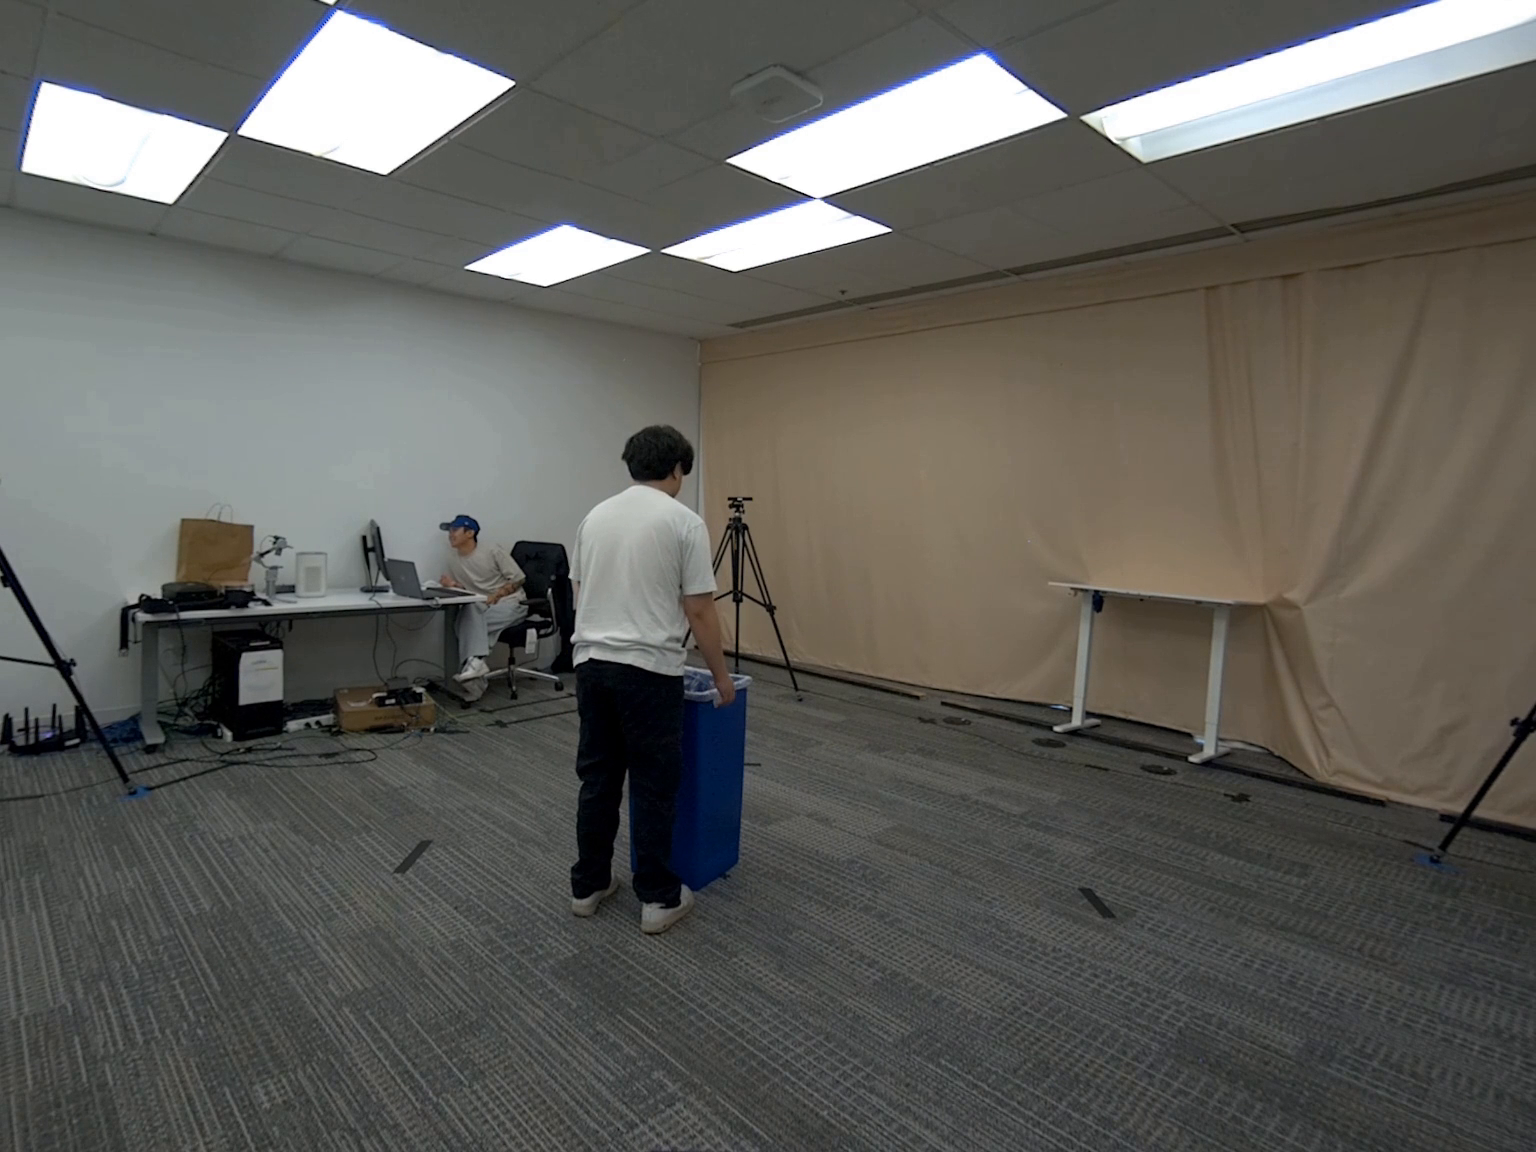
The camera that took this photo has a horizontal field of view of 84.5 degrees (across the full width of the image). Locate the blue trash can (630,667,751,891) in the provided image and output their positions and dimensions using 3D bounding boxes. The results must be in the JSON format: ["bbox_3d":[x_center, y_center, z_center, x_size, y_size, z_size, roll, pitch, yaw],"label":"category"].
[{"bbox_3d":[-0.314,0.739,3.155,0.382,0.712,0.371,4,4,29],"label":"blue trash can"}]
